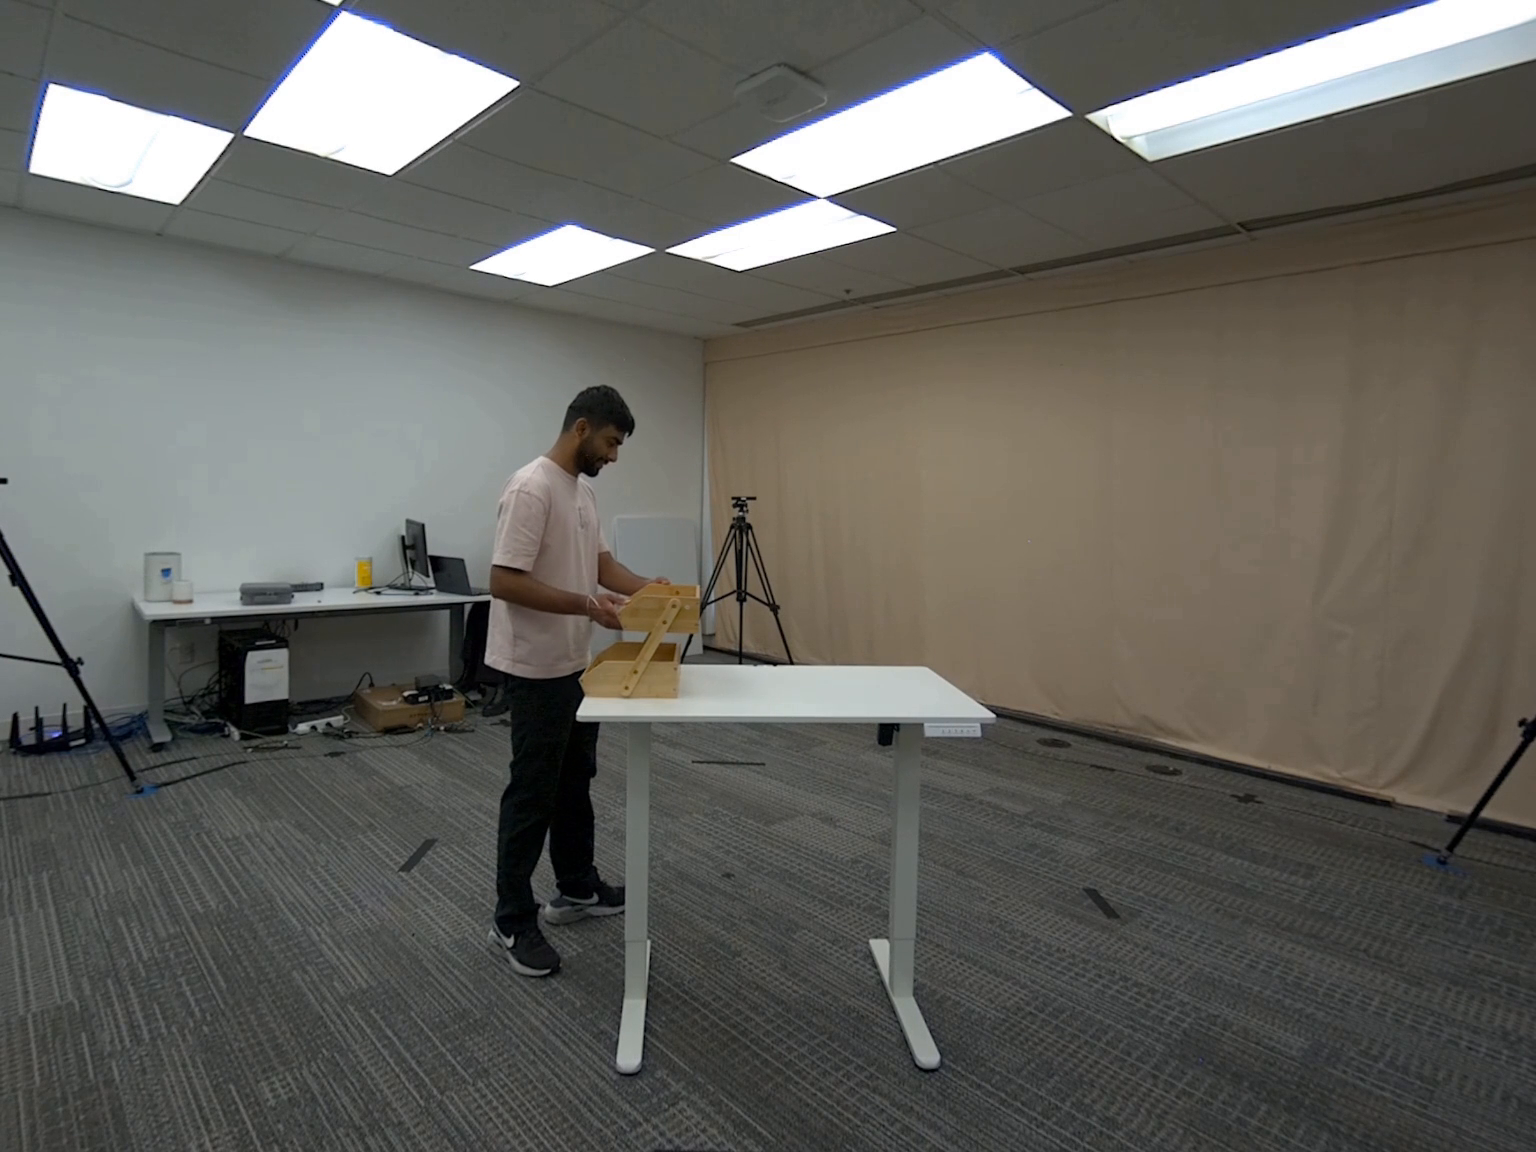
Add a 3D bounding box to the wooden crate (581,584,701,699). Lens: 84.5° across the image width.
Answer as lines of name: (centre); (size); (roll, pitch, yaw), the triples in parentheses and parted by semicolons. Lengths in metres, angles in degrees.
wooden crate: (-0.352, 0.175, 2.257); (0.301, 0.272, 0.326); (-1, 4, -5)
